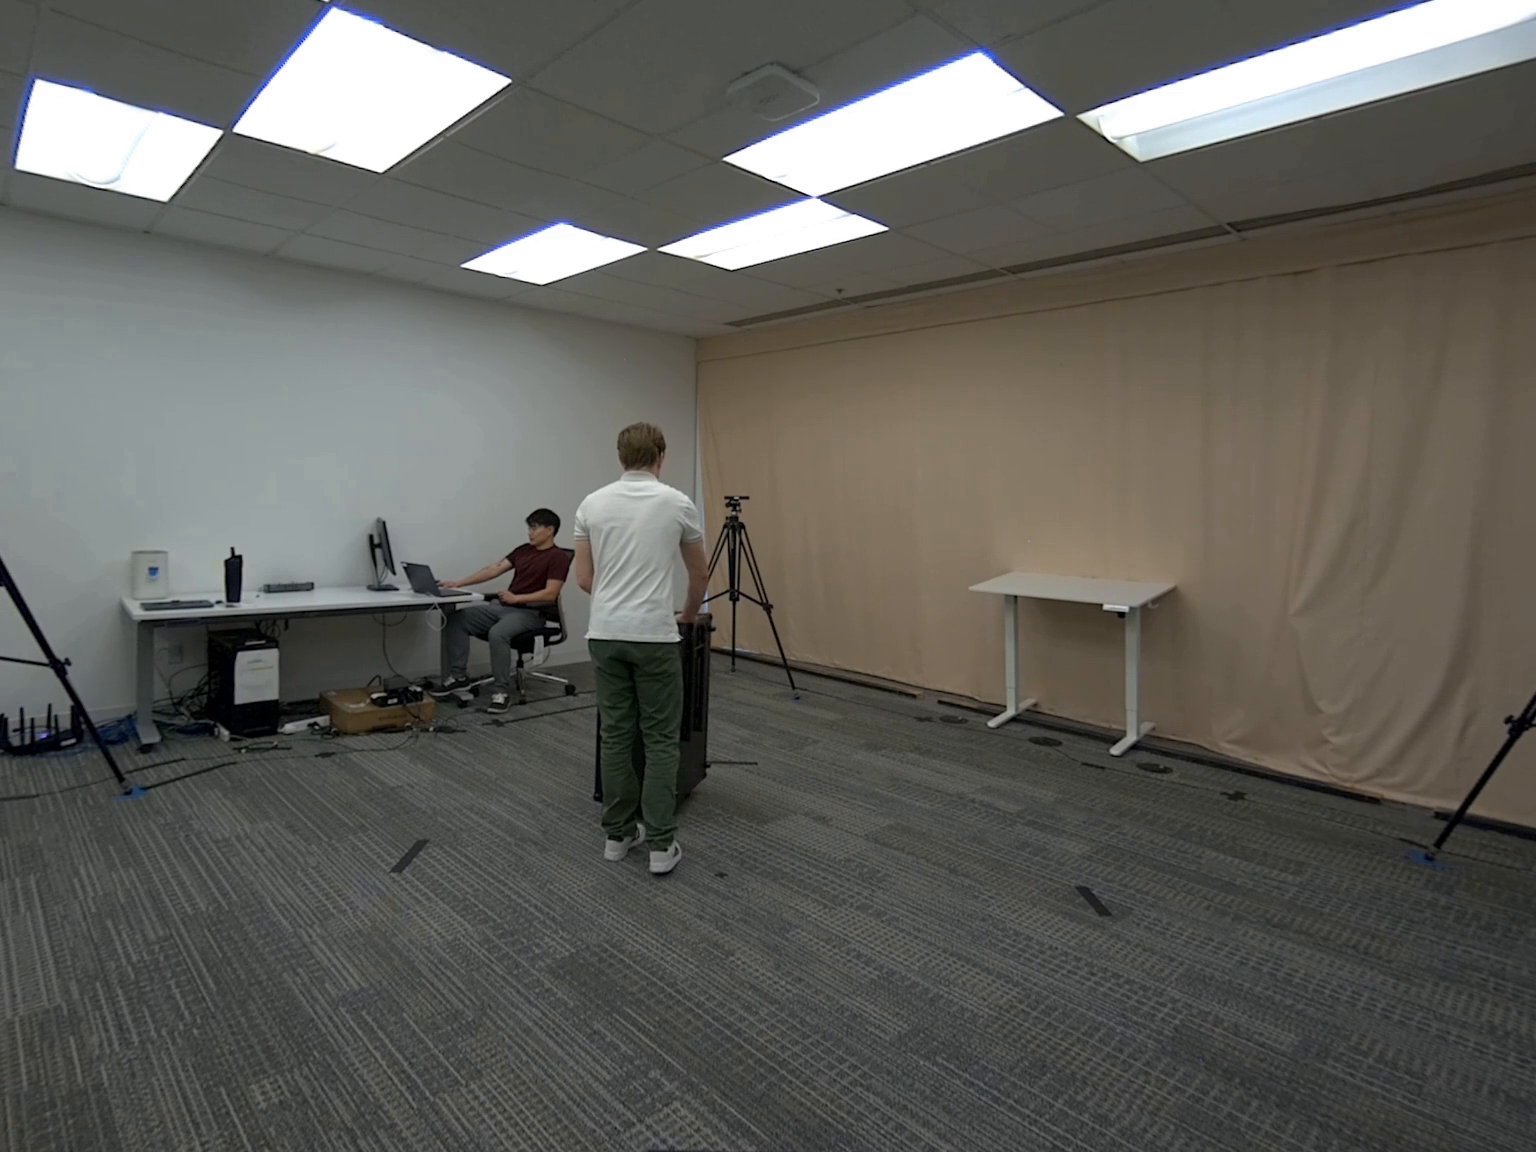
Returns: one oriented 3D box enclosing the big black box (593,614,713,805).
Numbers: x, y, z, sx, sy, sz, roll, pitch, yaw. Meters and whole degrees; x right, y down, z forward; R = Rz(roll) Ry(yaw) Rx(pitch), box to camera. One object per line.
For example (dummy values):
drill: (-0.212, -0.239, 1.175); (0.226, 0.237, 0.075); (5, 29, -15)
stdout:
big black box: (-0.512, 0.616, 3.810); (0.390, 0.866, 0.518); (4, 5, 14)
